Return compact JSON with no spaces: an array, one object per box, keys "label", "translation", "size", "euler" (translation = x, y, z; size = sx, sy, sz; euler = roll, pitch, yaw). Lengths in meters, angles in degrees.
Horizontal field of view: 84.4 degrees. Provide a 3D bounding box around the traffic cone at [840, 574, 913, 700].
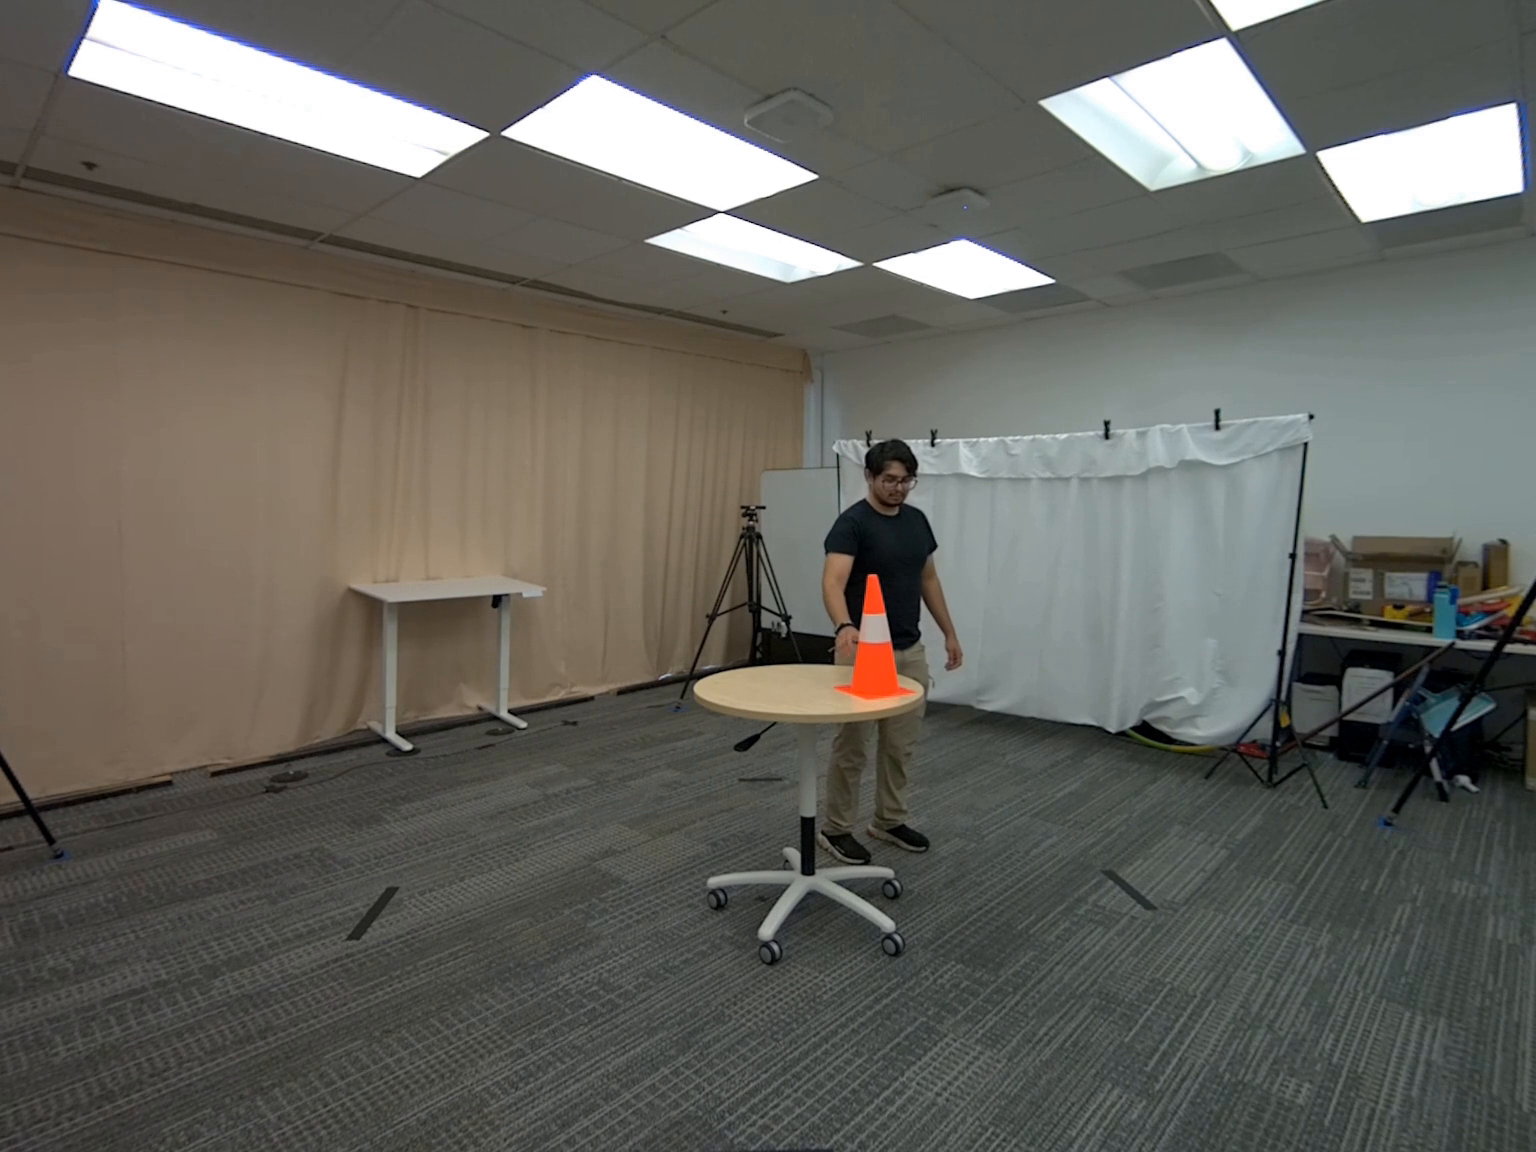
[{"label":"traffic cone","translation":[0.352,0.190,2.751],"size":[0.197,0.383,0.211],"euler":[-2,2,-35]}]
